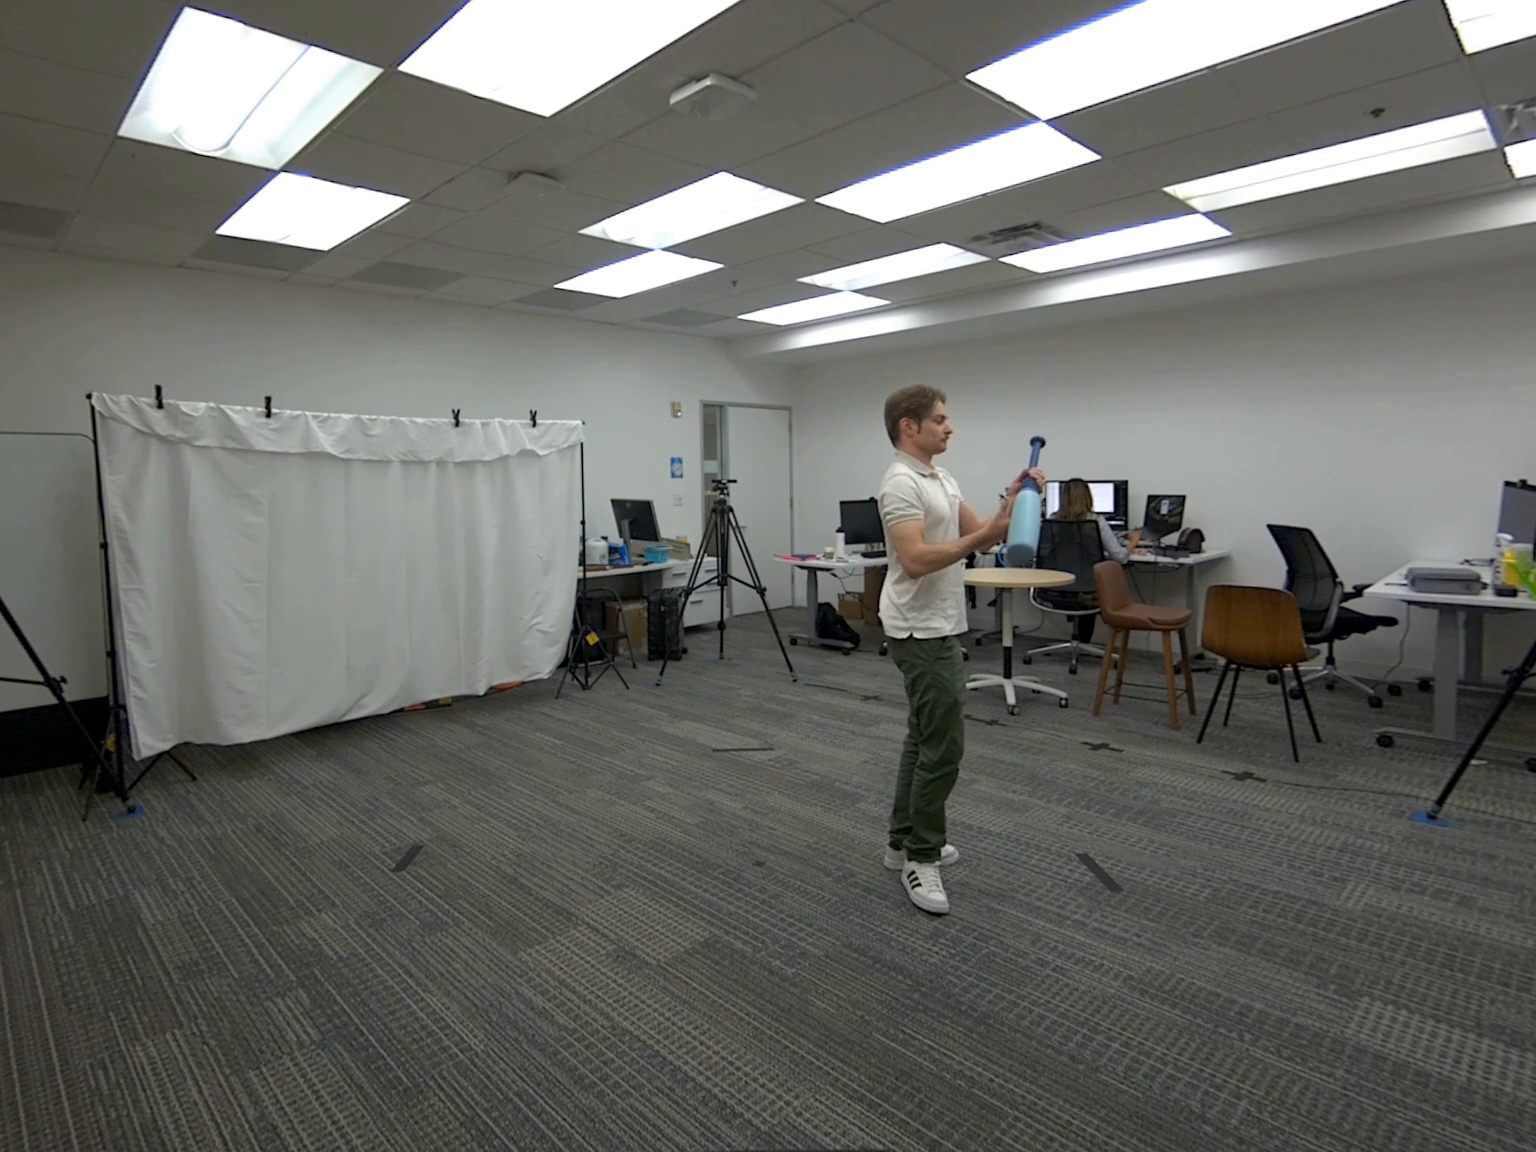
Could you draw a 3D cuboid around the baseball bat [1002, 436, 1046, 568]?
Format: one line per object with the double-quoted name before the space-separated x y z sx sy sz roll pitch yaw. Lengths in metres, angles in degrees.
"baseball bat" 0.830 -0.262 2.711 0.091 0.086 0.551 0 46 22
